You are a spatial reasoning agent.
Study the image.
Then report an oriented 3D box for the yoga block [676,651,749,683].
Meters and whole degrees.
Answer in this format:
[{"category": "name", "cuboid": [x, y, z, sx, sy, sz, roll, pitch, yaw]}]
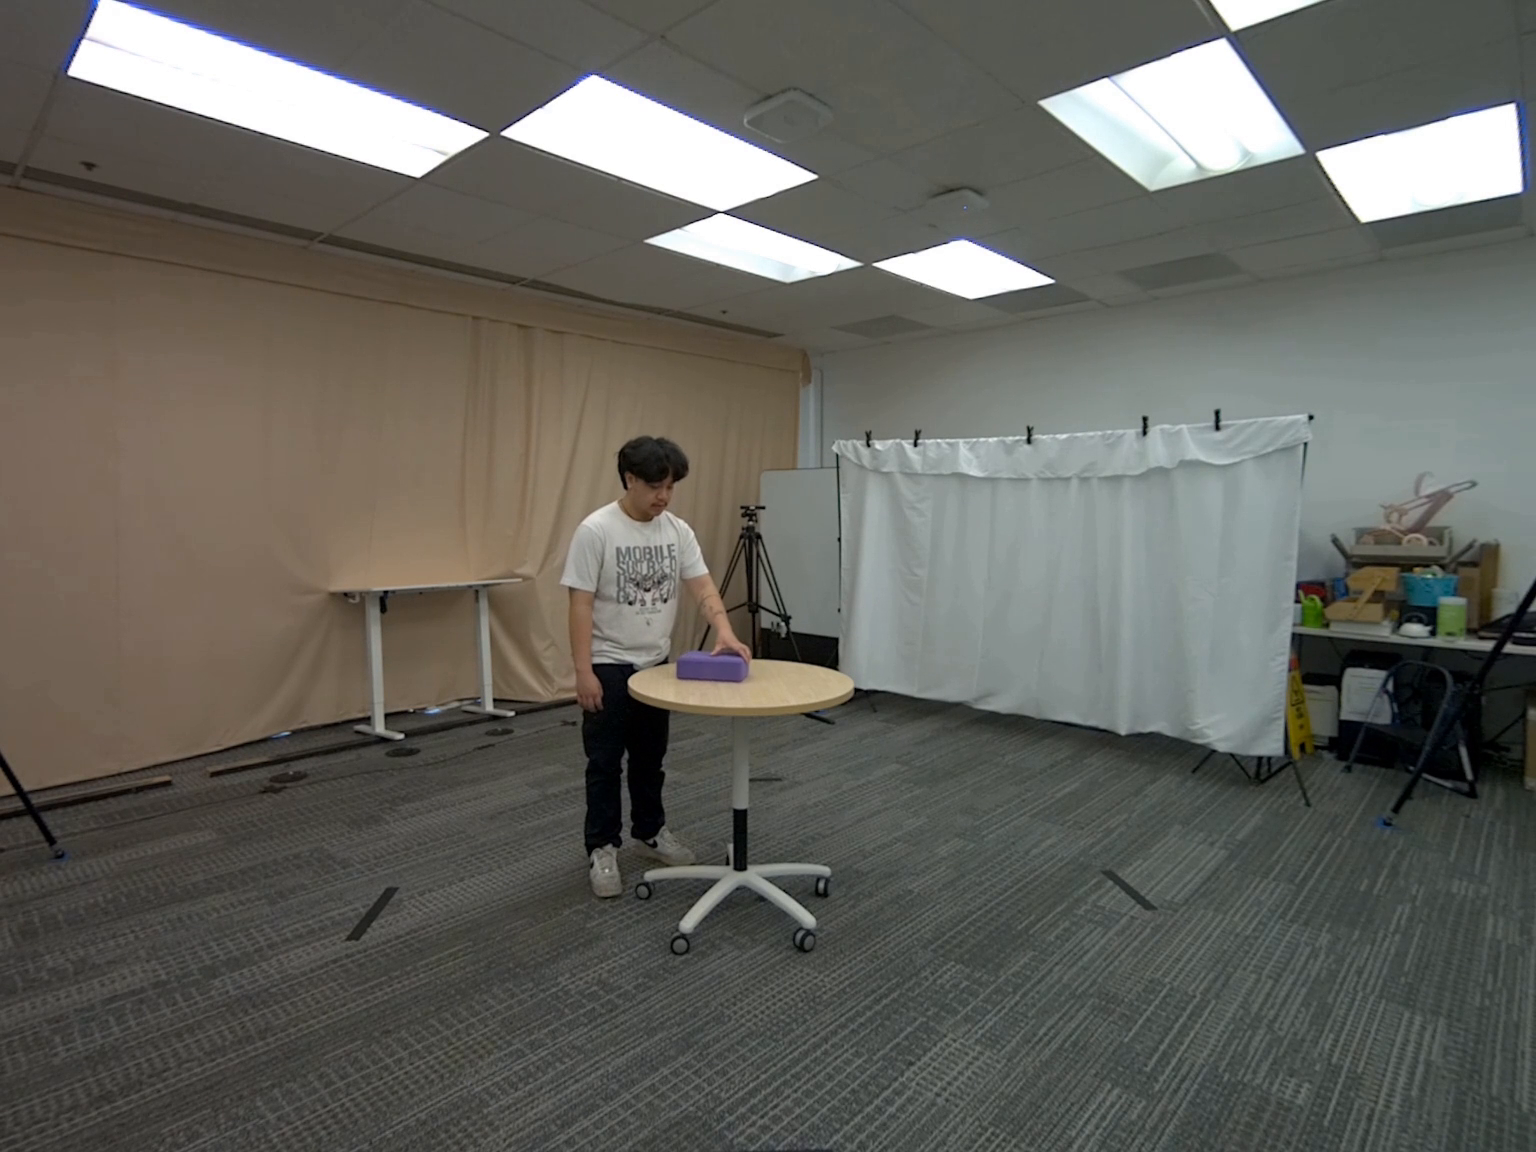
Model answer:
[{"category": "yoga block", "cuboid": [-0.188, 0.314, 2.911, 0.232, 0.076, 0.148, 1, 5, 9]}]
